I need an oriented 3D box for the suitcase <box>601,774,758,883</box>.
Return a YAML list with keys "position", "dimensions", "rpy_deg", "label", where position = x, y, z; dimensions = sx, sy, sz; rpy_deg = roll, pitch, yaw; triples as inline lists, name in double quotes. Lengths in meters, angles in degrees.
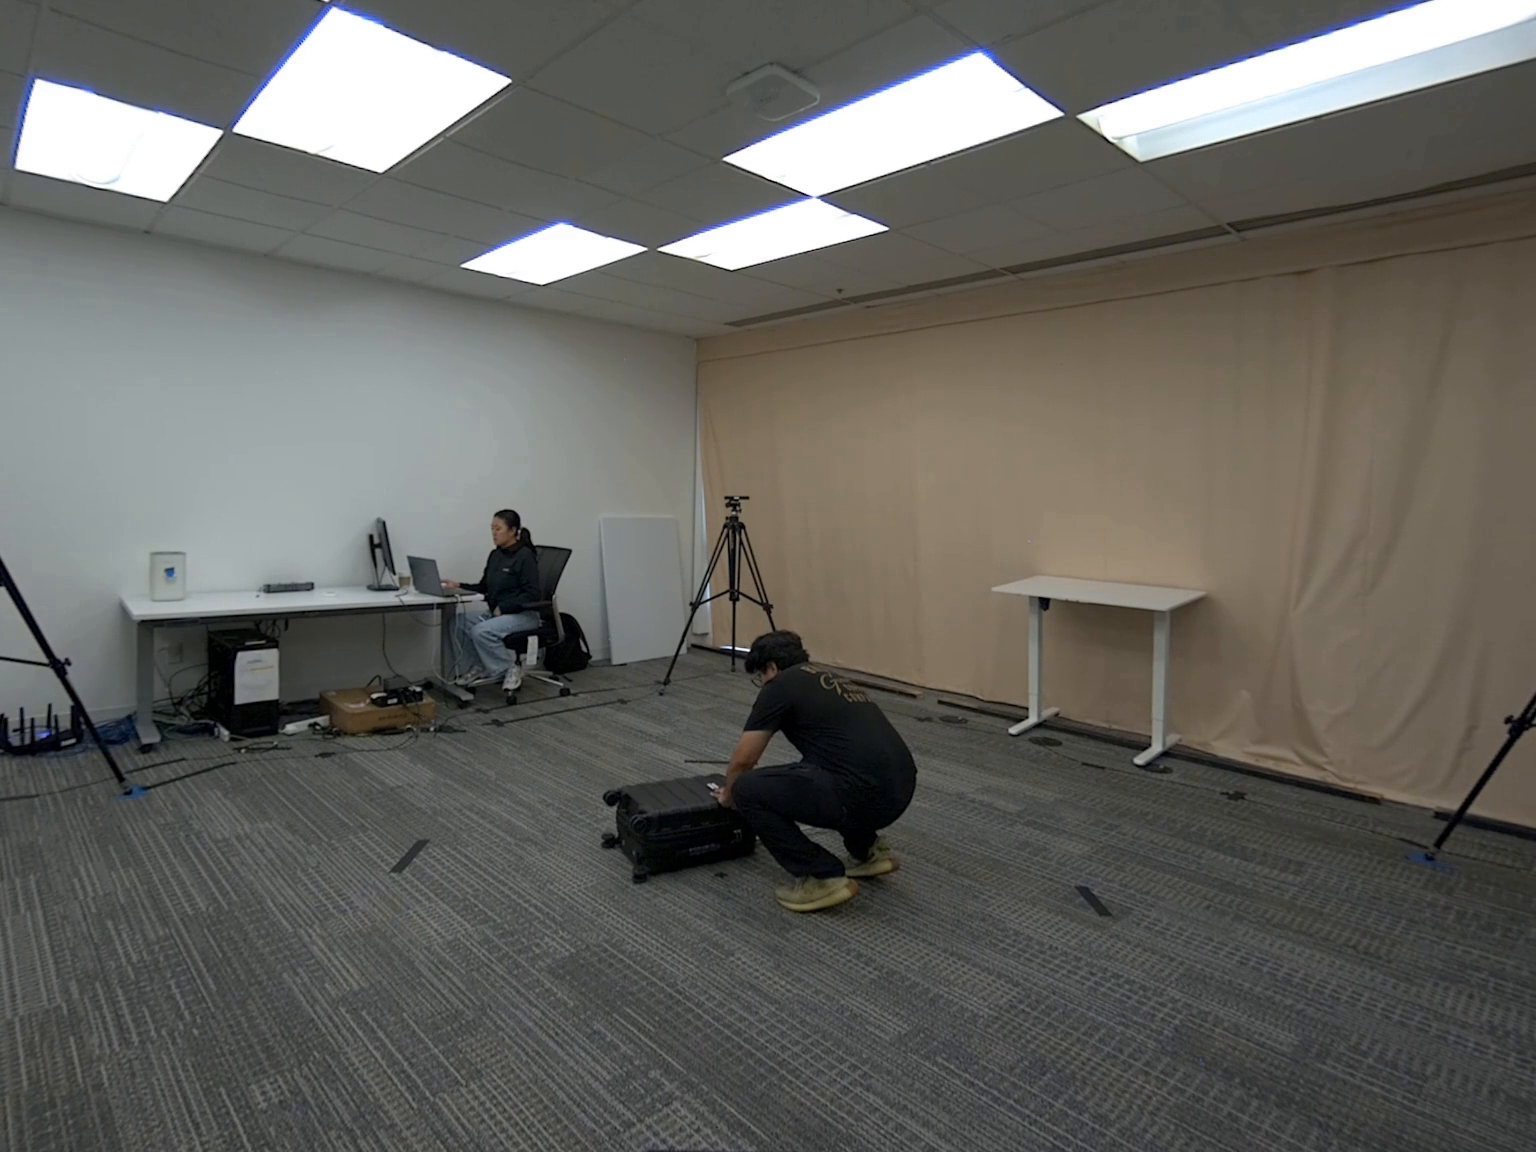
- position: [-0.164, 0.947, 3.399]
  dimensions: [0.960, 0.256, 0.392]
  rpy_deg: [-3, 5, -29]
  label: "suitcase"
